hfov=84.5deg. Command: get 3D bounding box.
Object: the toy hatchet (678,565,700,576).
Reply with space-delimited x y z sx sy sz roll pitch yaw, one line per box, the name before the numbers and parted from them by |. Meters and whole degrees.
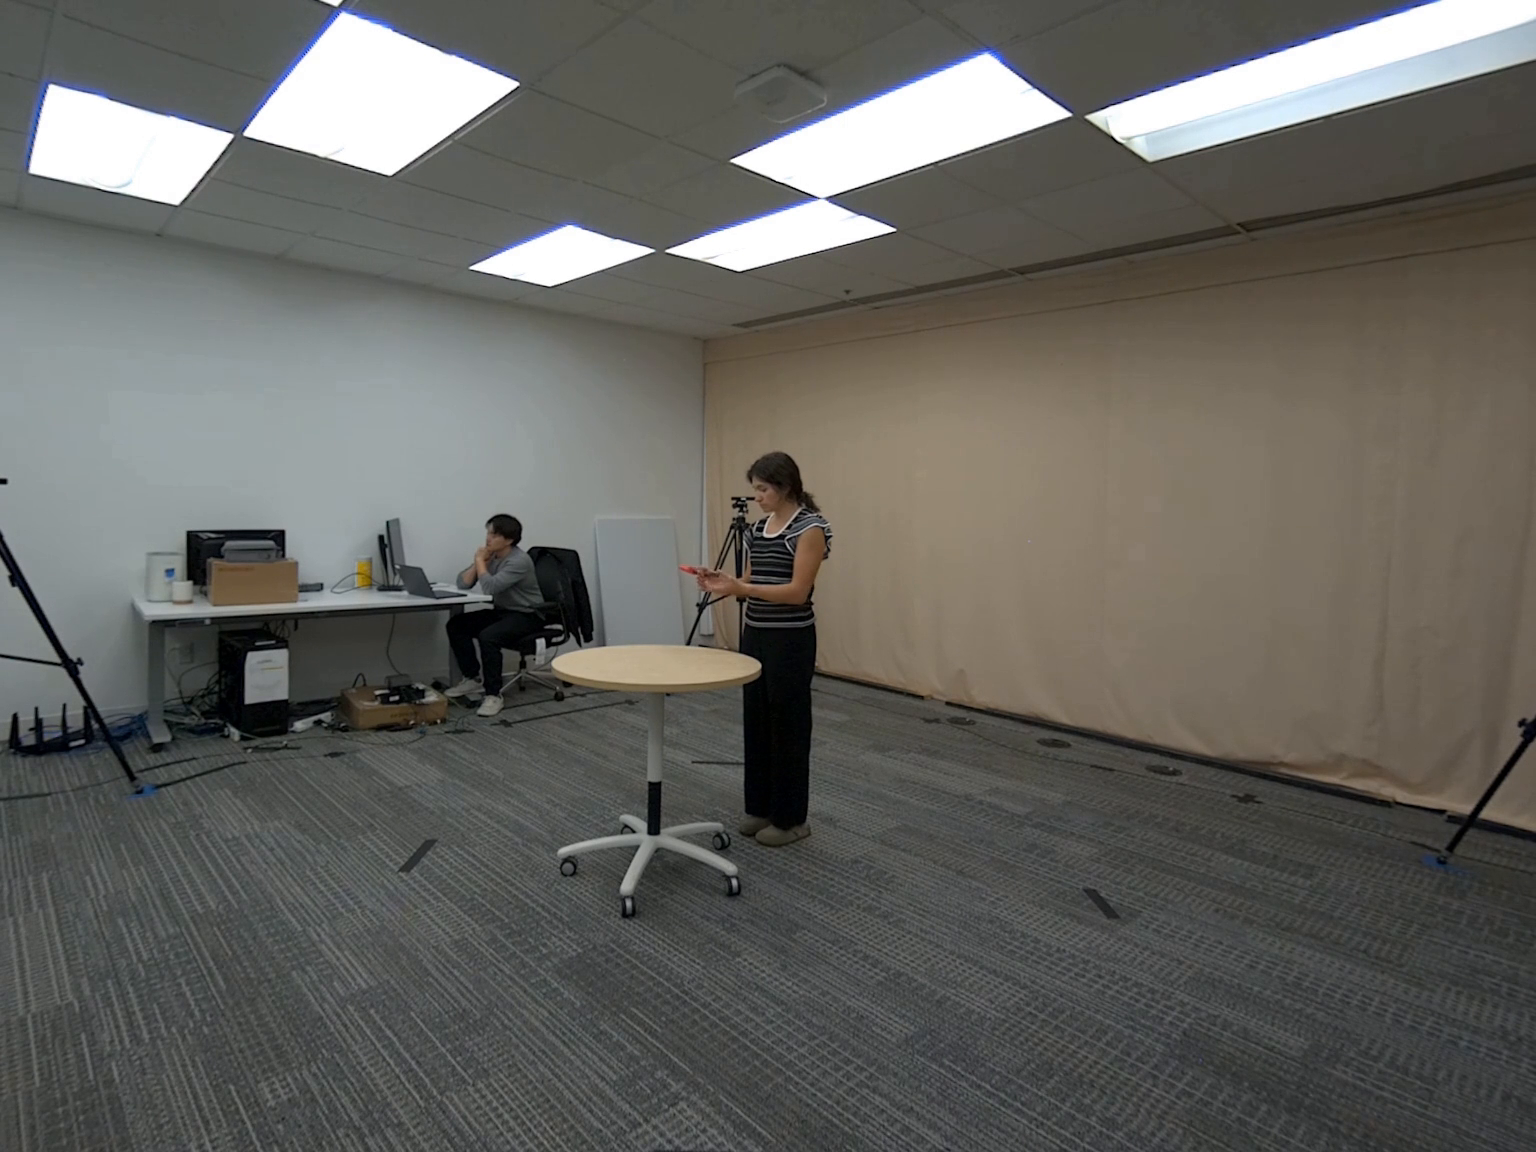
toy hatchet | -0.282 -0.017 3.385 0.130 0.029 0.272 15 -1 -10
